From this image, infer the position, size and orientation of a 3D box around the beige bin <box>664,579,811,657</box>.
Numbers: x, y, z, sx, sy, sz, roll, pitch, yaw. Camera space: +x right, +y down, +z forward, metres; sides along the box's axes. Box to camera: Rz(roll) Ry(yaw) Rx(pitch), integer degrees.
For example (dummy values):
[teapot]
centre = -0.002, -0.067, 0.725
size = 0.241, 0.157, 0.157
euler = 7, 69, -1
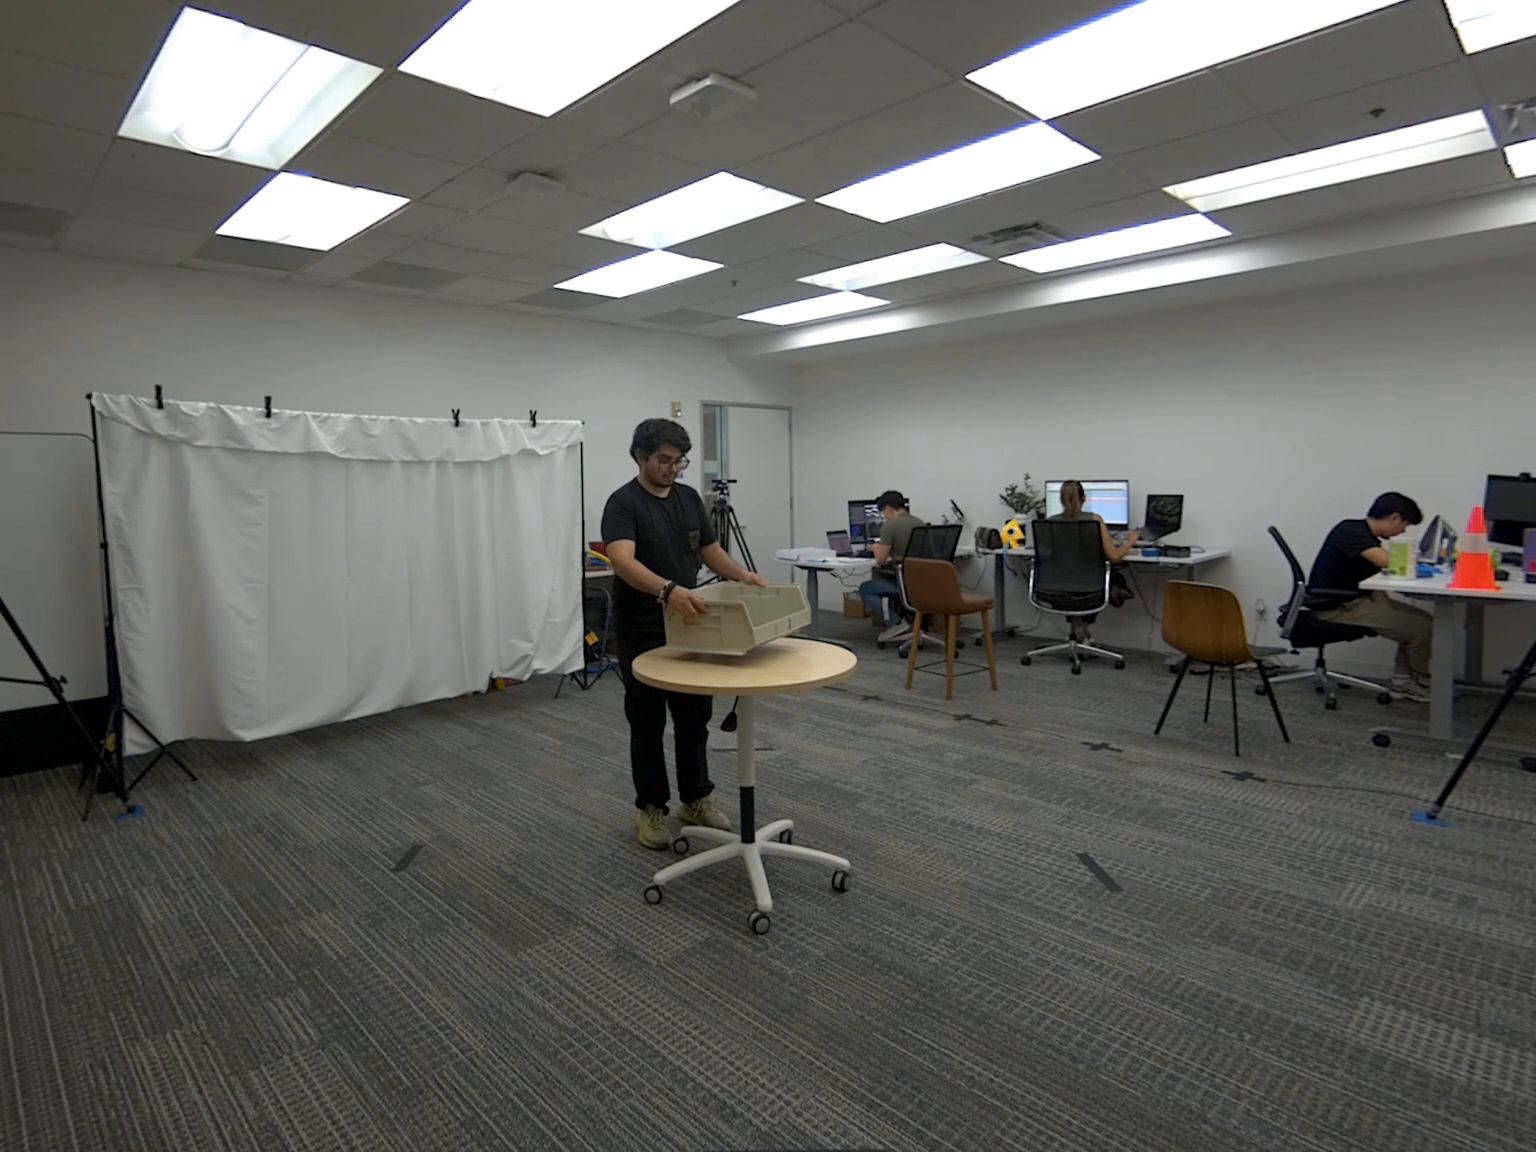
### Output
[beige bin]
centre = -0.113, 0.142, 3.022
size = 0.387, 0.188, 0.414
euler = -1, 7, 31
